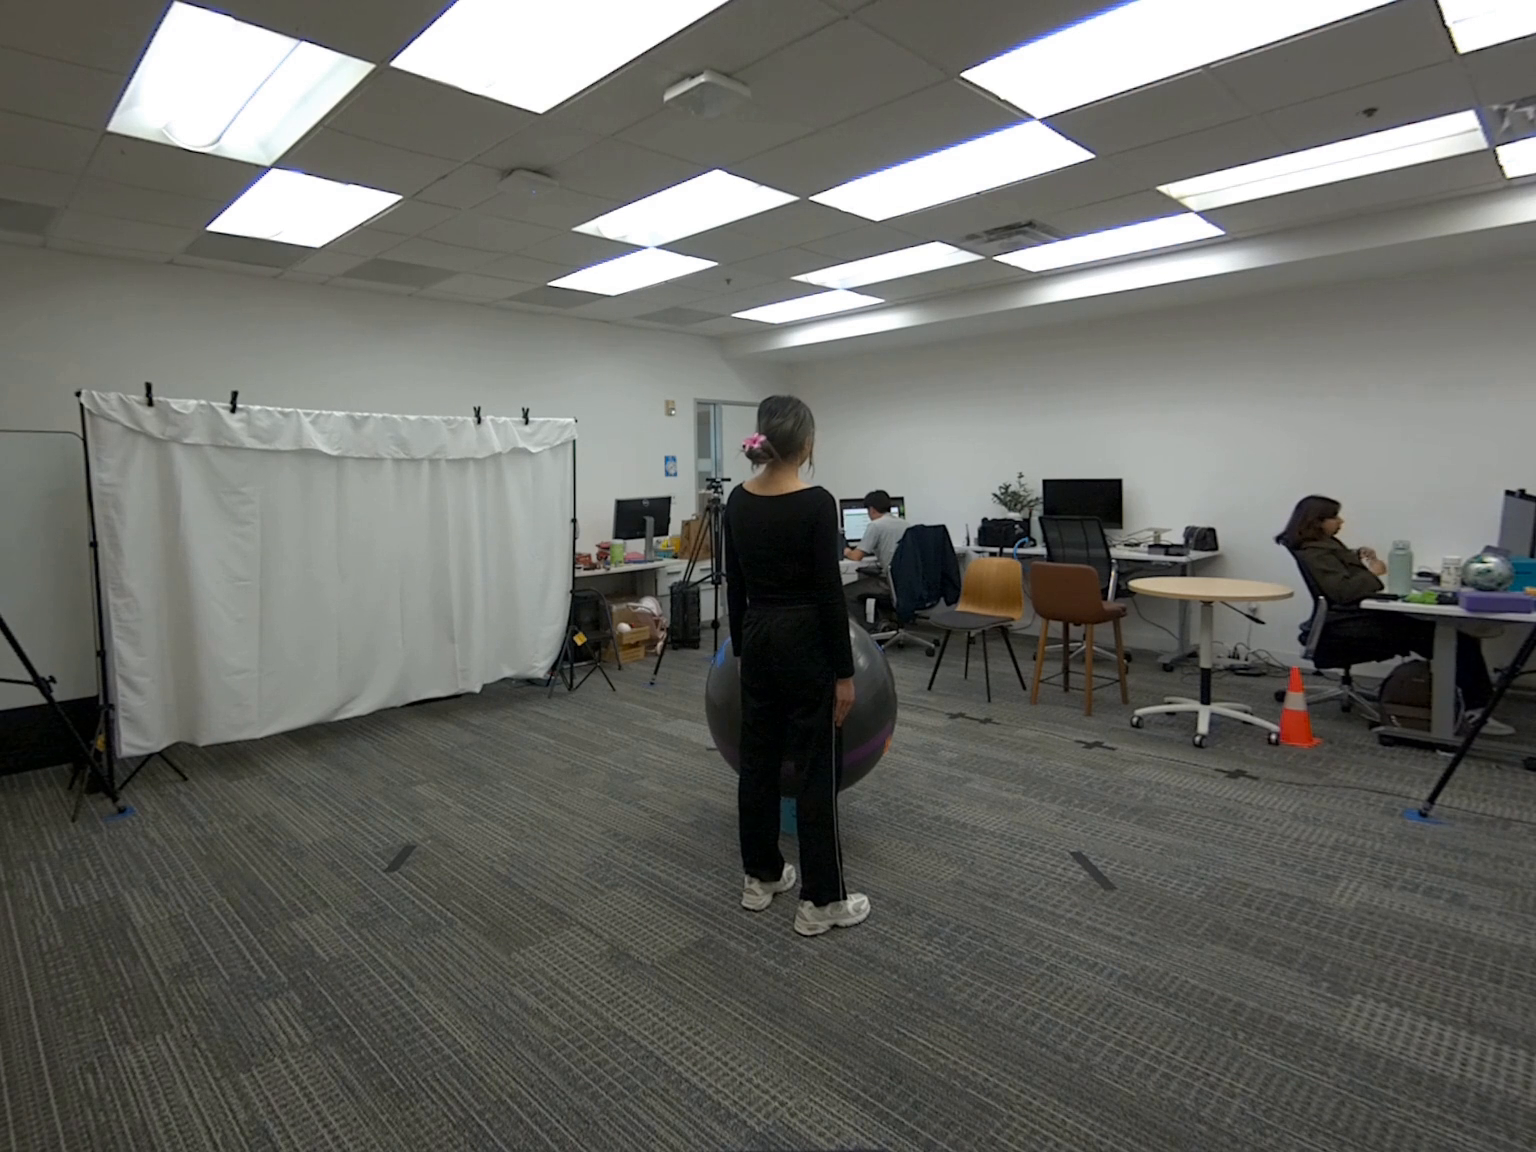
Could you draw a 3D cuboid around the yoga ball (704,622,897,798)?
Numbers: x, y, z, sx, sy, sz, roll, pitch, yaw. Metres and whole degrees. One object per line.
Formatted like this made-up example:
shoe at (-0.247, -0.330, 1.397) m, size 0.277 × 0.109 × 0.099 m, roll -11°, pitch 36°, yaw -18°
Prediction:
yoga ball at (0.131, 0.493, 3.400) m, size 0.757 × 0.755 × 0.762 m, roll -1°, pitch 5°, yaw -2°
